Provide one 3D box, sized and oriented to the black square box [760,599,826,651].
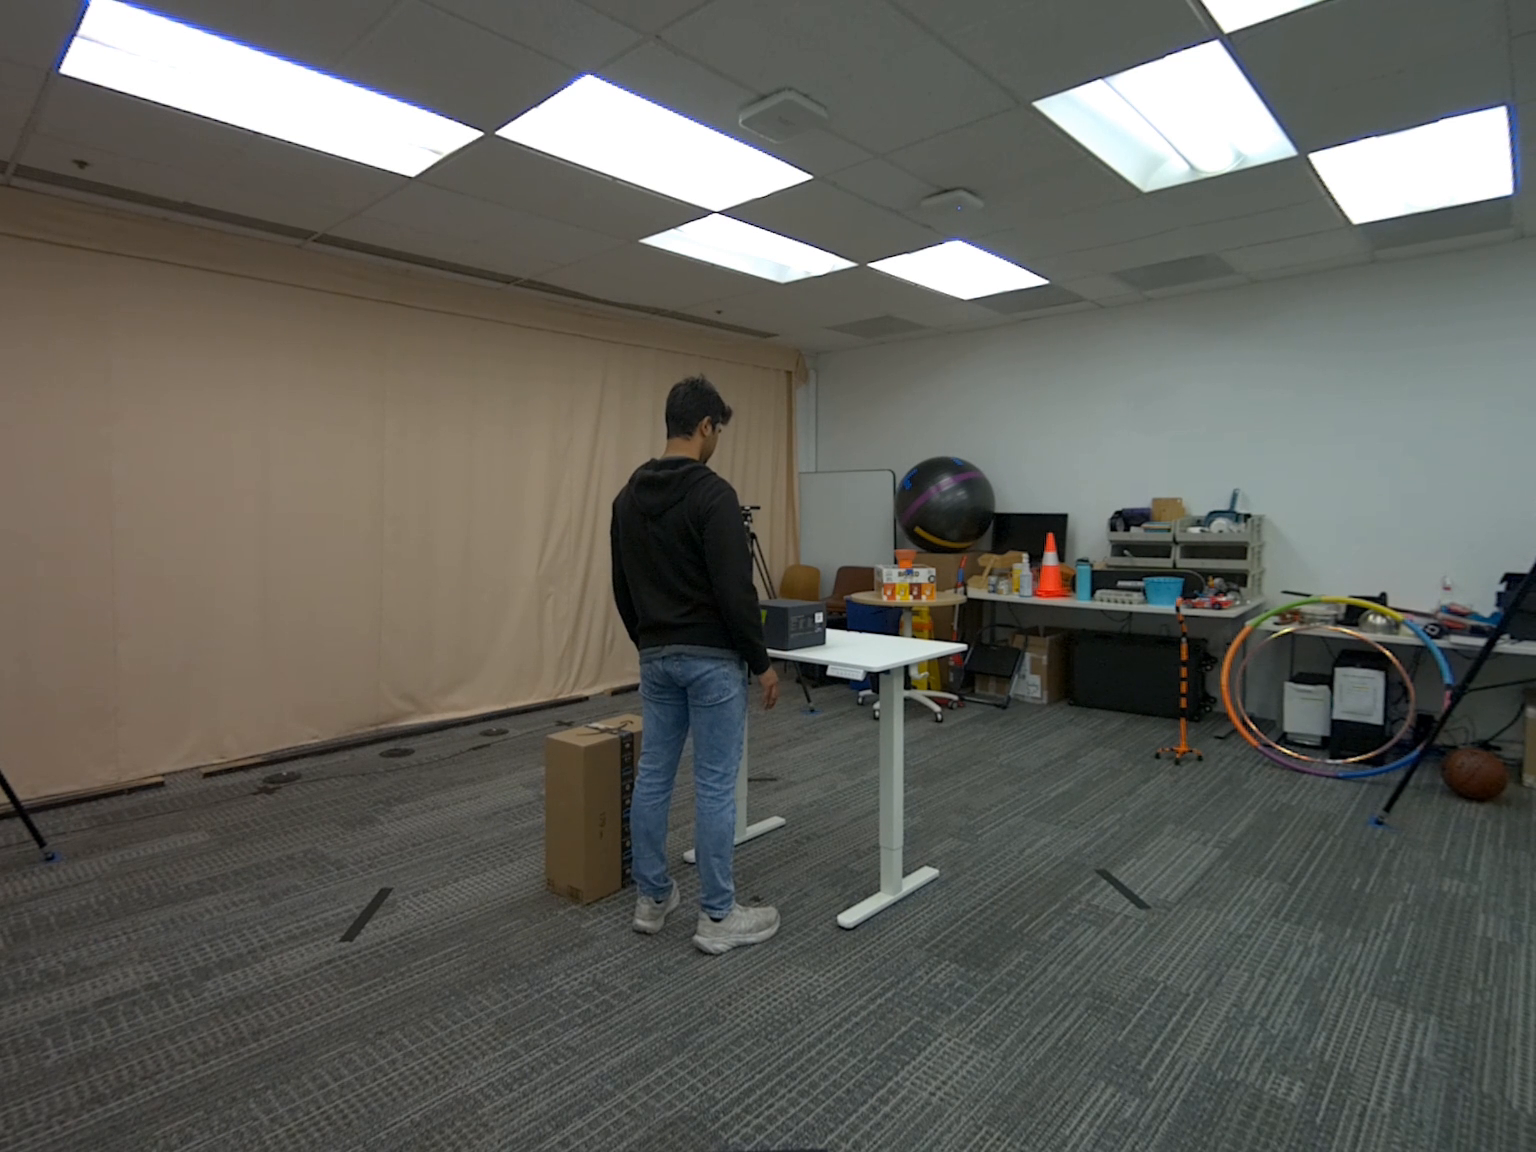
[{"bbox_3d":[0.059,0.173,3.086,0.235,0.155,0.210,3,5,45],"label":"black square box"}]
